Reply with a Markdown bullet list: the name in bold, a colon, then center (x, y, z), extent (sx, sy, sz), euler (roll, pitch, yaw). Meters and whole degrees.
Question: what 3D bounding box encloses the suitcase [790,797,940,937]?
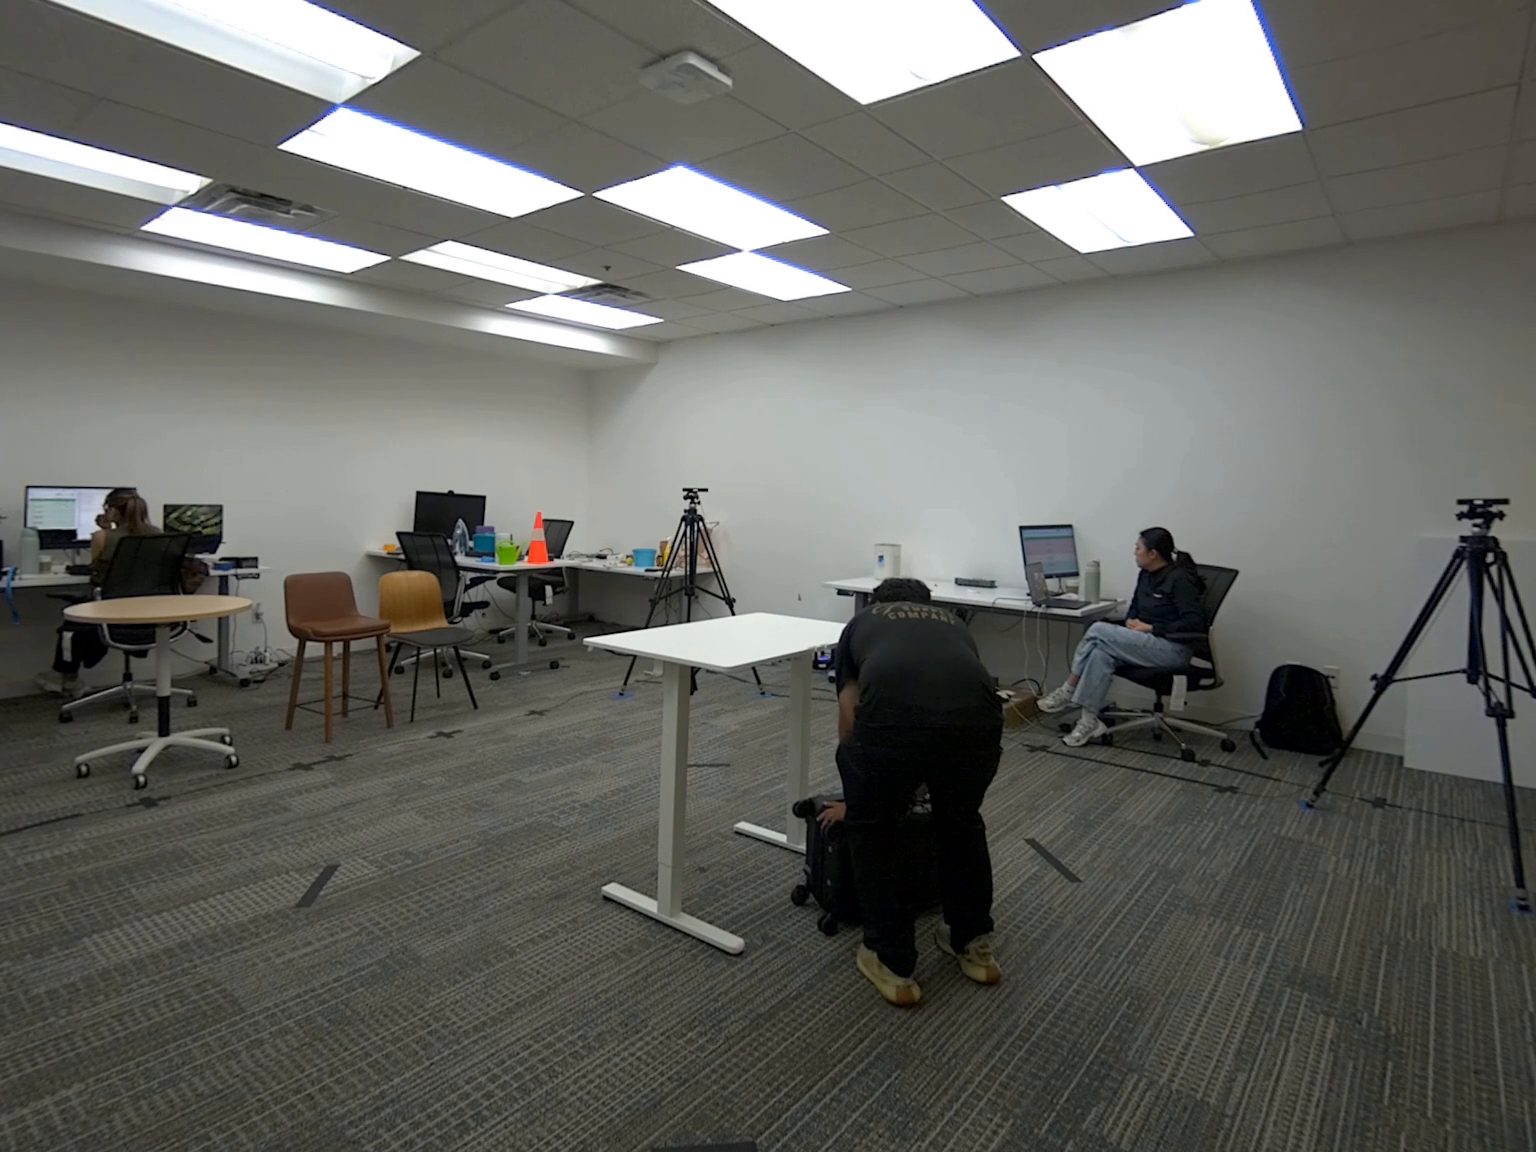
- **suitcase**: center (0.372, 0.915, 2.860), extent (0.537, 0.375, 0.254), euler (-1, 2, -23)
